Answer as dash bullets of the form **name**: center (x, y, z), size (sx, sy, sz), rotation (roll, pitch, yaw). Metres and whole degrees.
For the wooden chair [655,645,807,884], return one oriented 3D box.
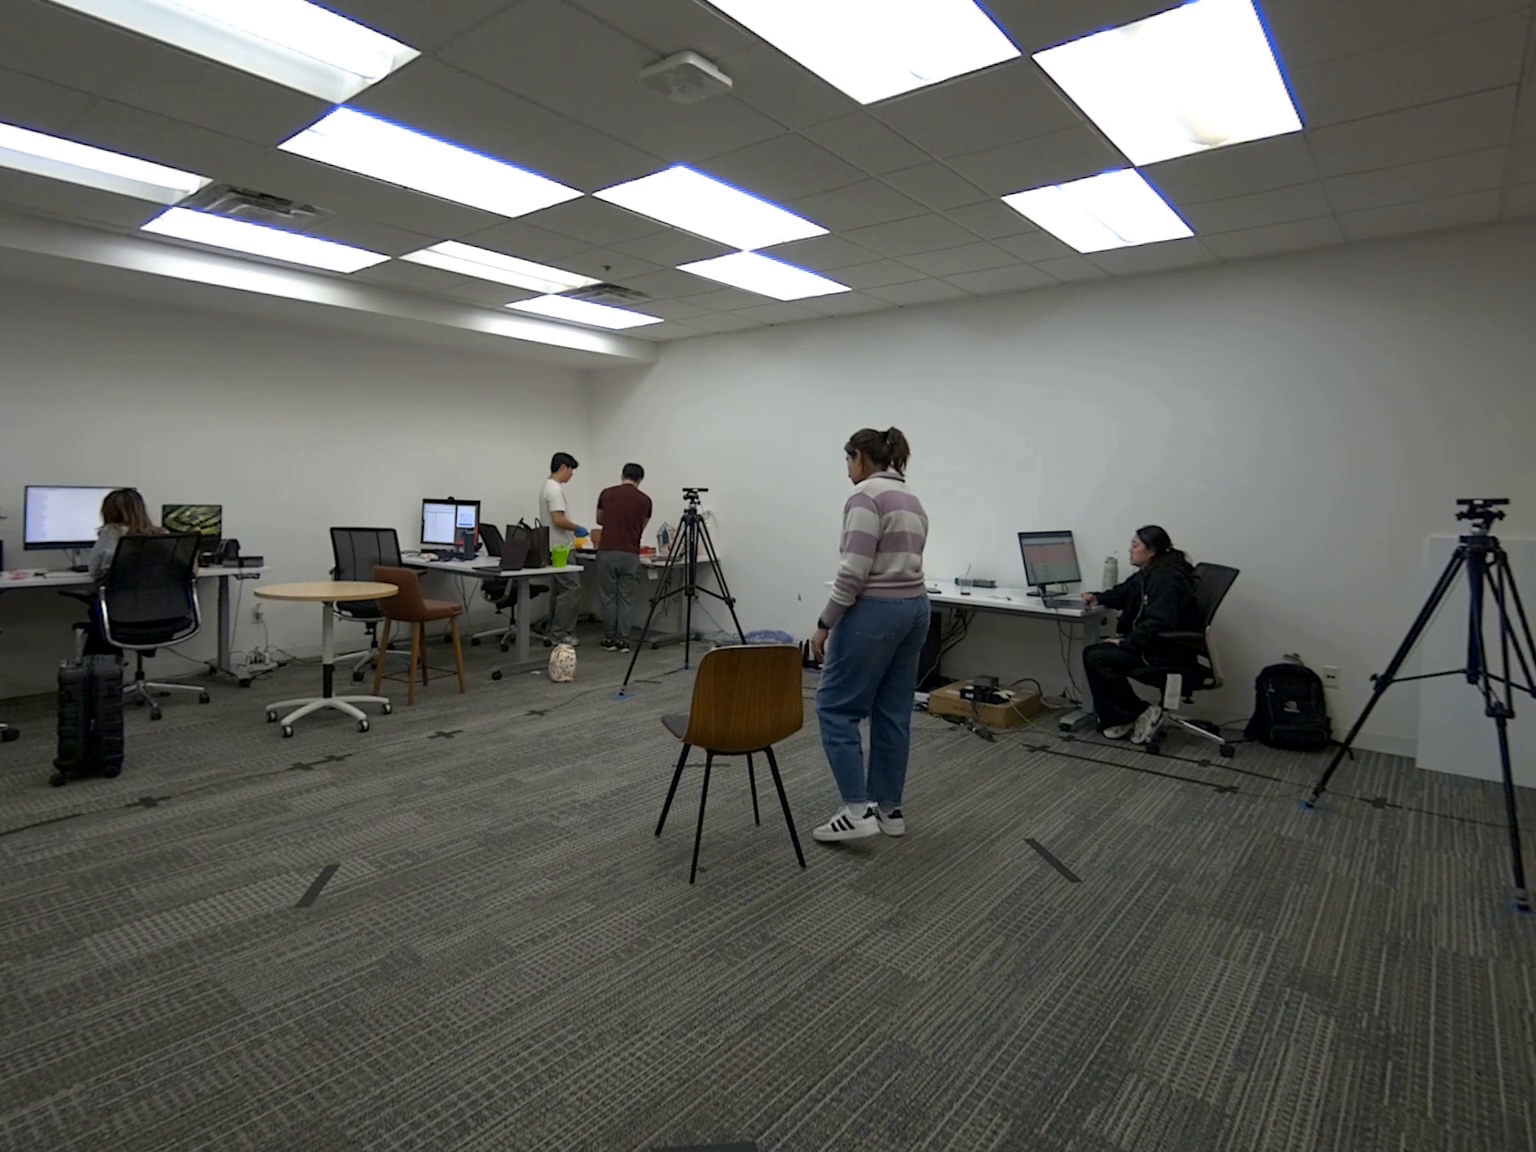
- **wooden chair**: center (-0.157, 0.626, 3.251), size (0.468, 0.872, 0.538), rotation (0, 8, -22)
